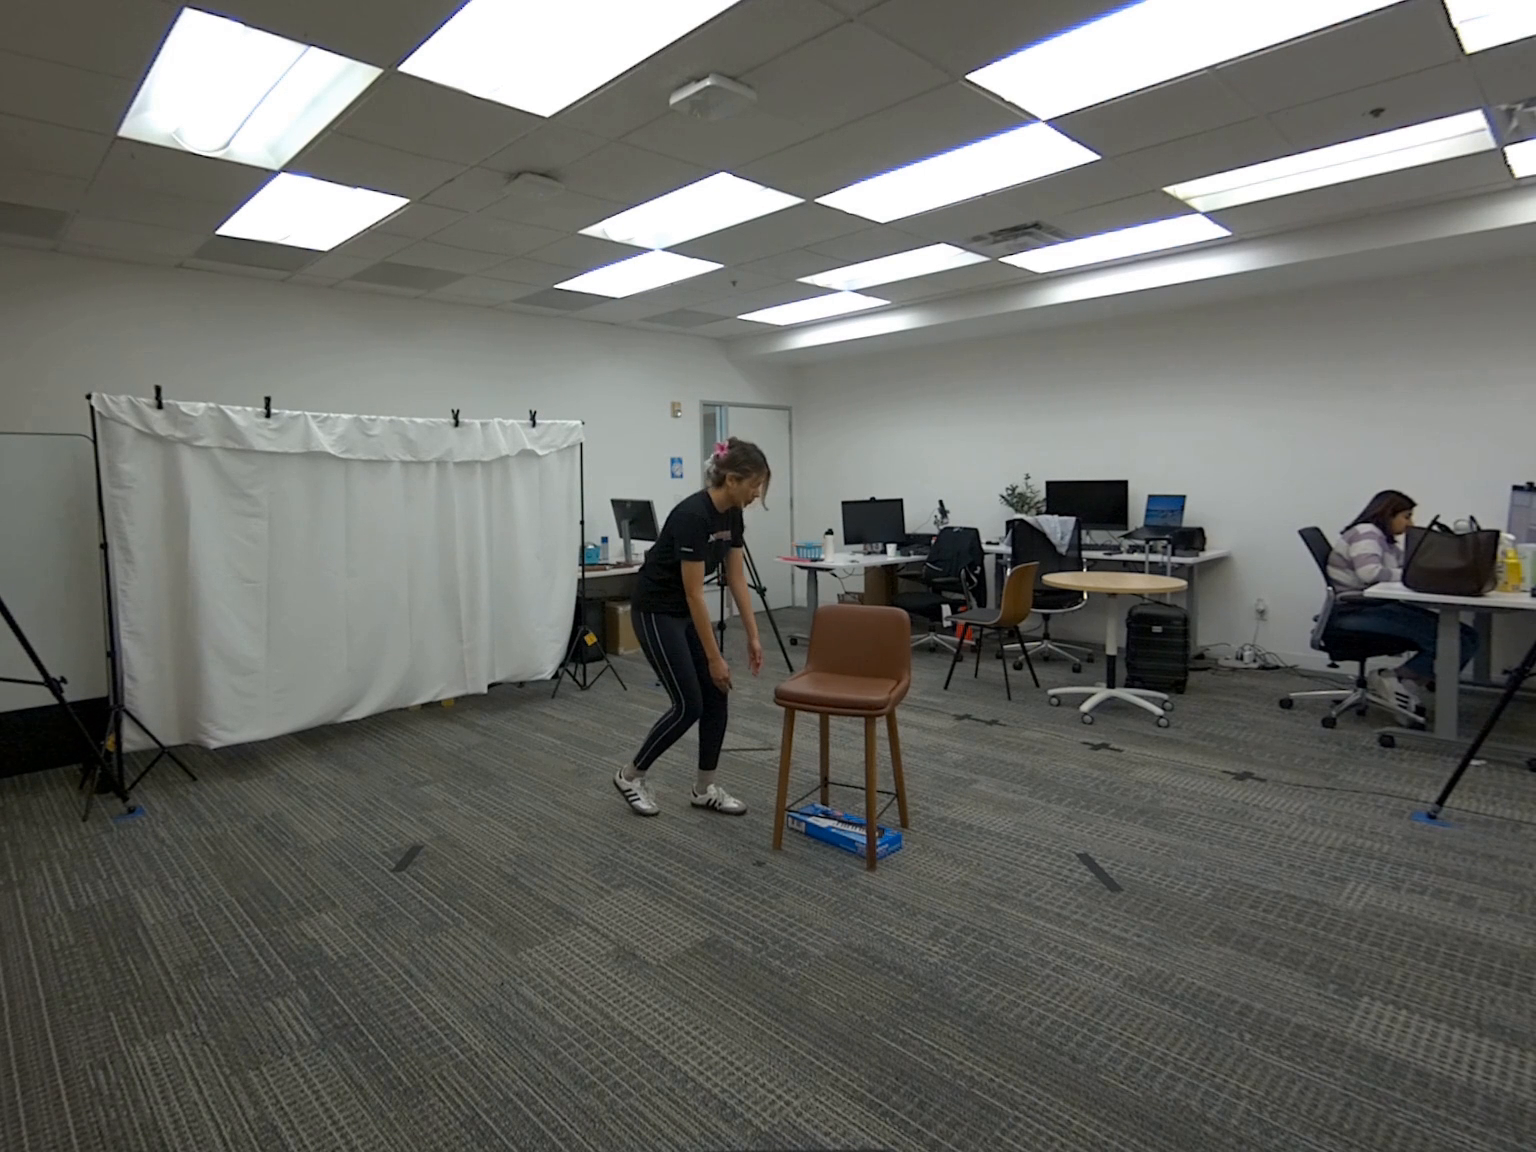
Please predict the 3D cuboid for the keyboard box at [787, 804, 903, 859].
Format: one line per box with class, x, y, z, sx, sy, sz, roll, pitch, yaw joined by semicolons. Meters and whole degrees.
keyboard box;0.293;0.992;3.322;0.171;0.059;0.450;-7;8;-43
